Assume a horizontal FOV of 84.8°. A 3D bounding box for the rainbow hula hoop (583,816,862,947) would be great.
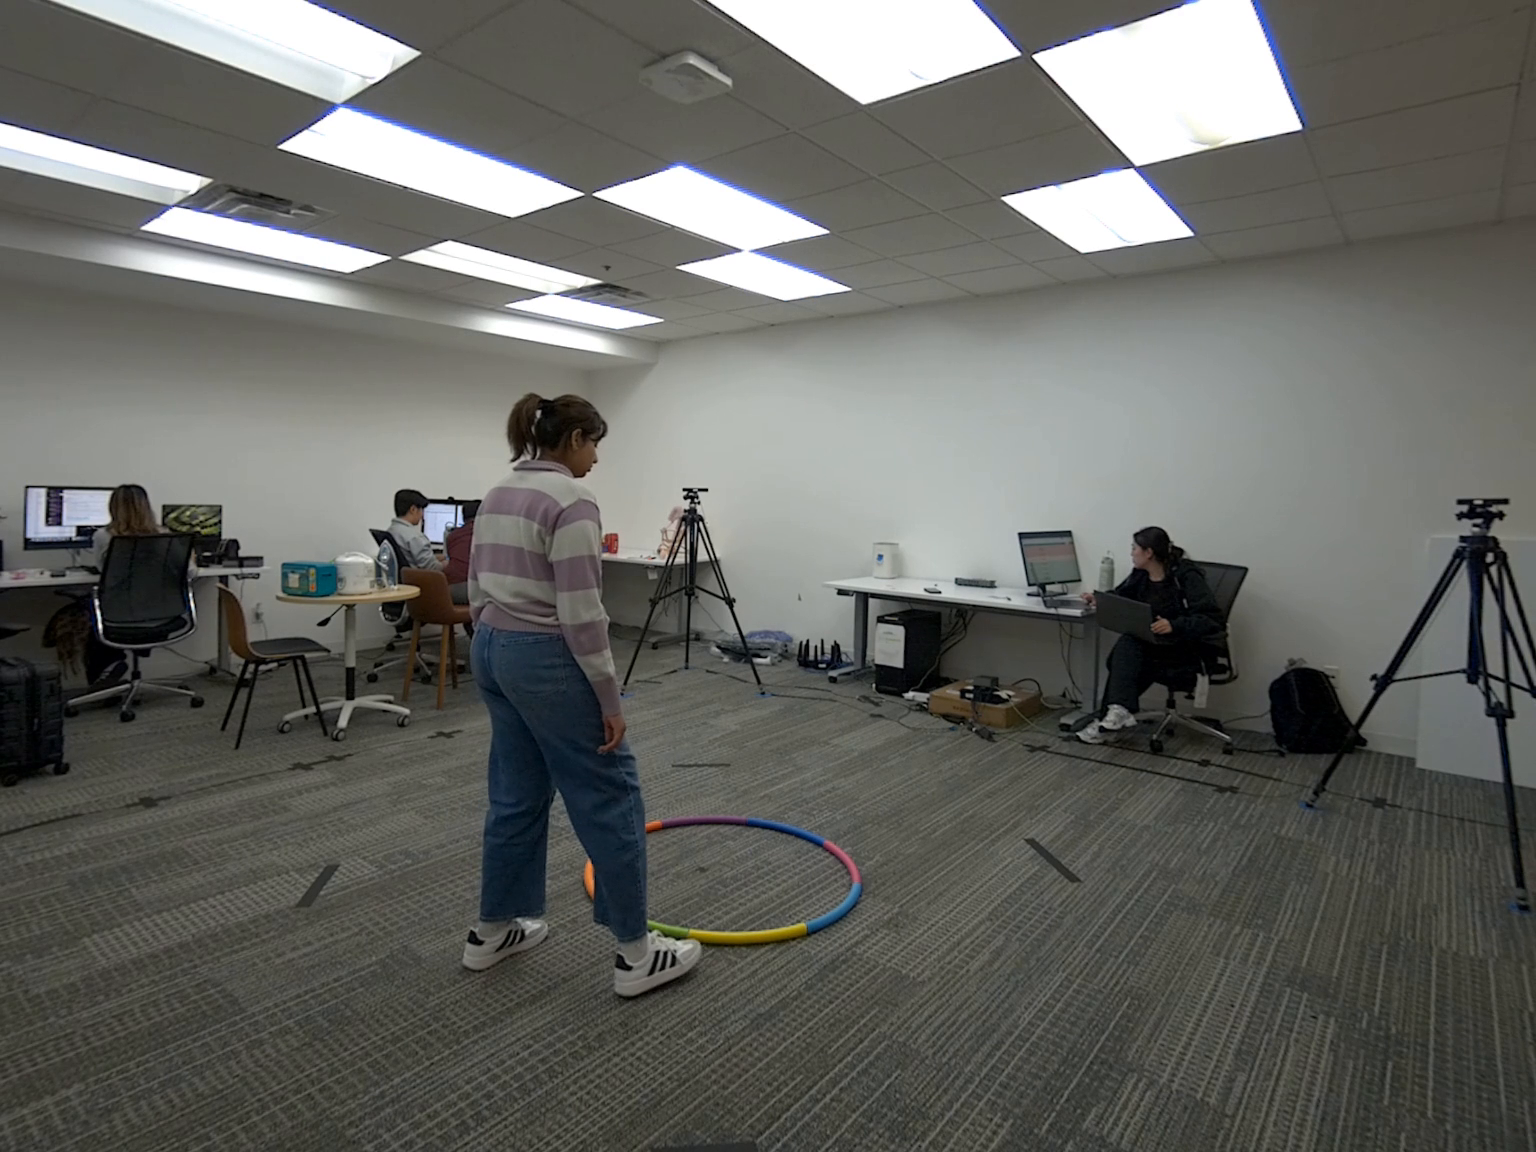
[{"bbox_3d":[-0.173,1.042,3.062,0.978,0.035,0.984,1,6,-2],"label":"rainbow hula hoop"}]
